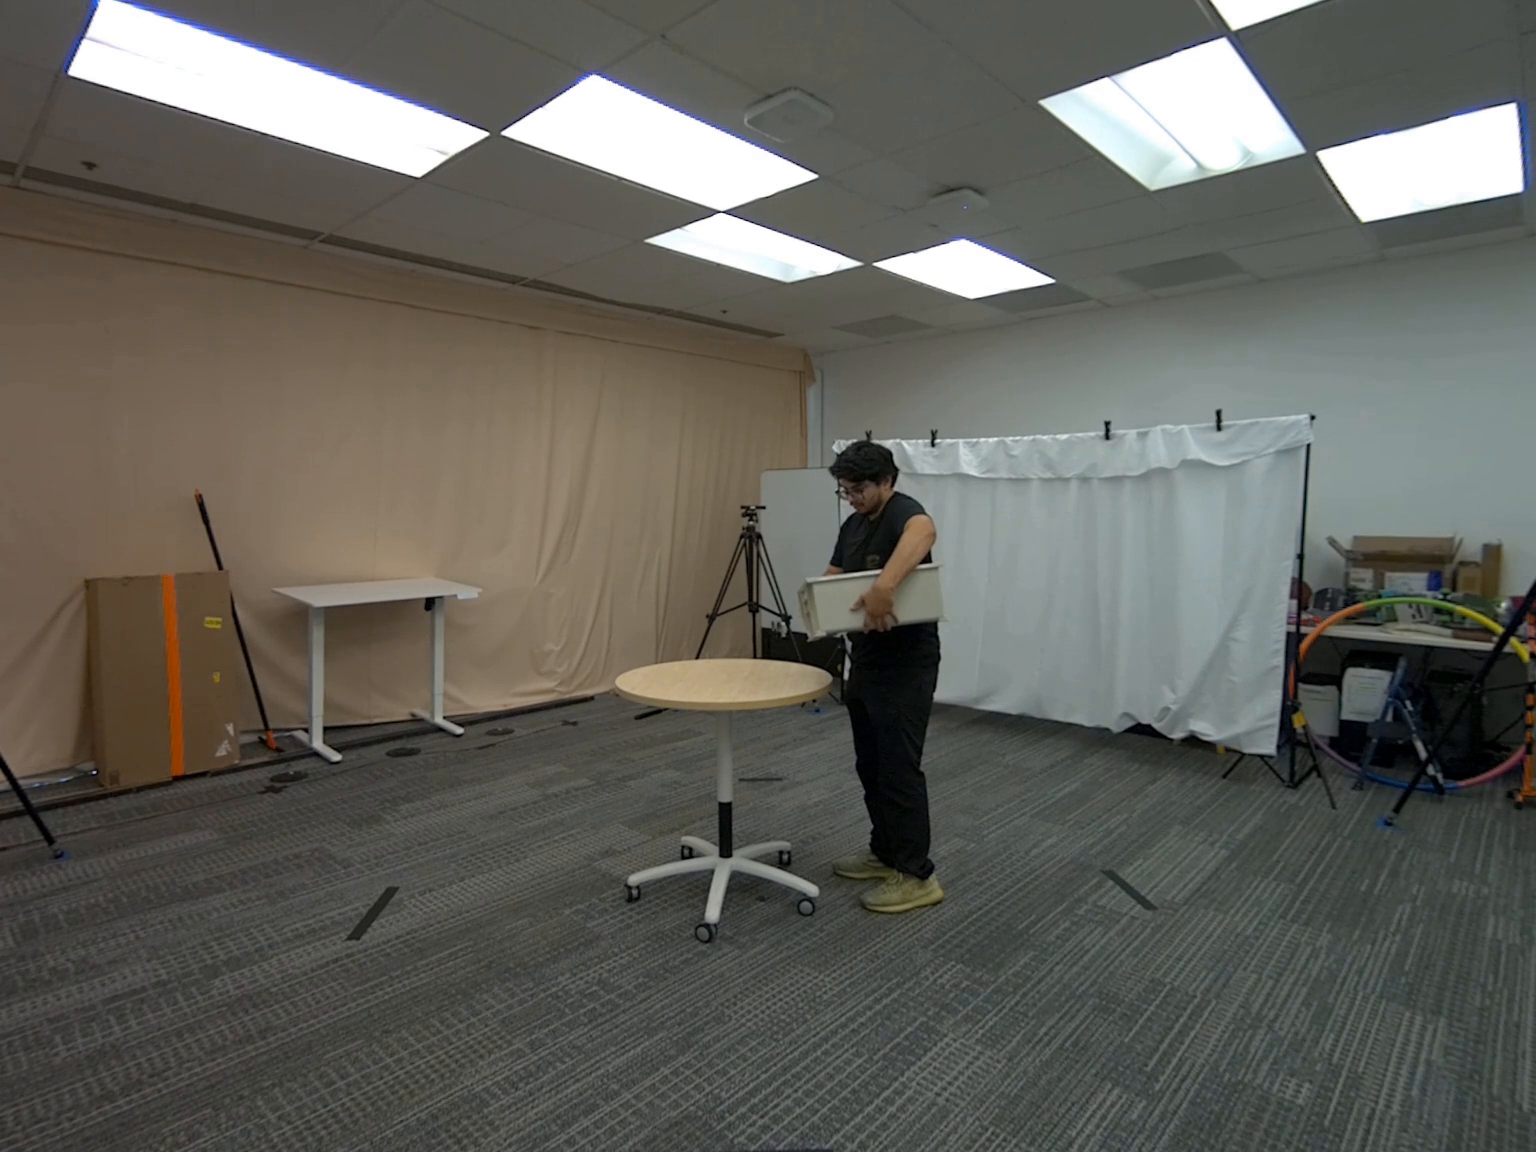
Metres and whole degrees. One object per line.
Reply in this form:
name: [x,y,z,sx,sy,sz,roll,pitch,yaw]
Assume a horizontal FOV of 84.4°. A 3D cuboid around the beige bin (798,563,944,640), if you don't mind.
beige bin: [0.334,0.092,2.744,0.423,0.190,0.375,-7,-4,0]
